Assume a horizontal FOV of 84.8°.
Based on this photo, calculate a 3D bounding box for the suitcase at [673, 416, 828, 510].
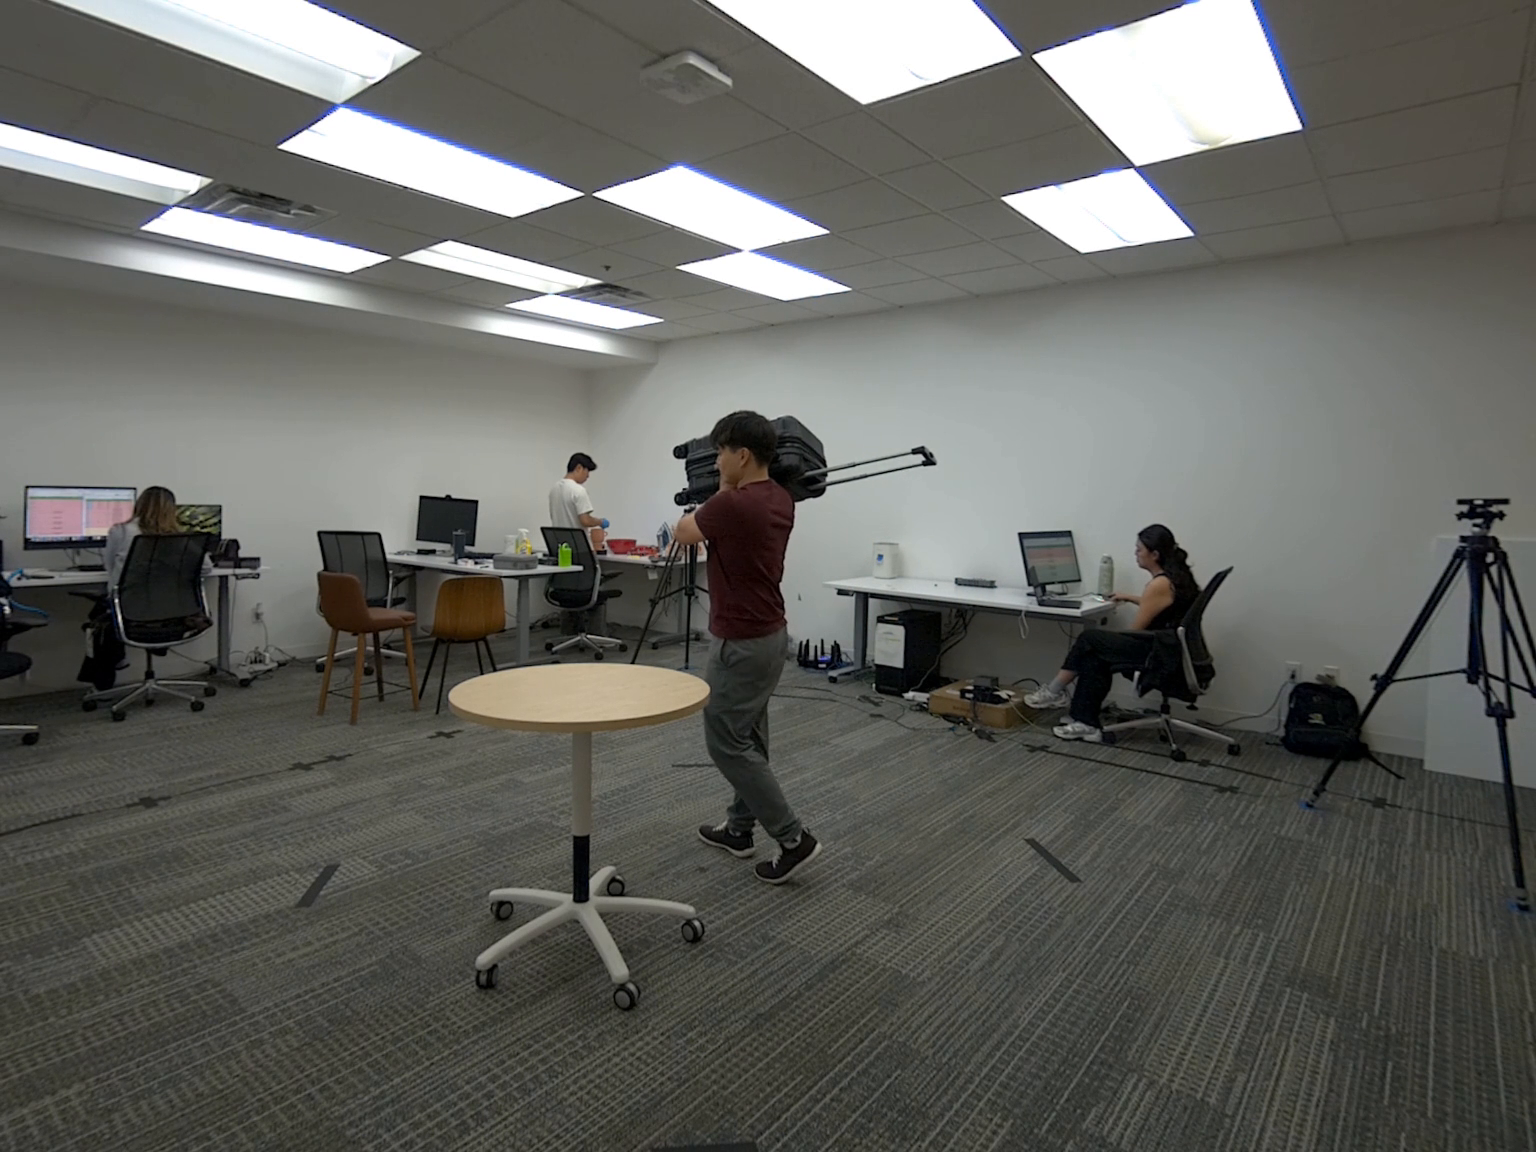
[{"bbox_3d":[0.114,-0.466,3.284,0.998,0.262,0.369,-12,-20,27],"label":"suitcase"}]
